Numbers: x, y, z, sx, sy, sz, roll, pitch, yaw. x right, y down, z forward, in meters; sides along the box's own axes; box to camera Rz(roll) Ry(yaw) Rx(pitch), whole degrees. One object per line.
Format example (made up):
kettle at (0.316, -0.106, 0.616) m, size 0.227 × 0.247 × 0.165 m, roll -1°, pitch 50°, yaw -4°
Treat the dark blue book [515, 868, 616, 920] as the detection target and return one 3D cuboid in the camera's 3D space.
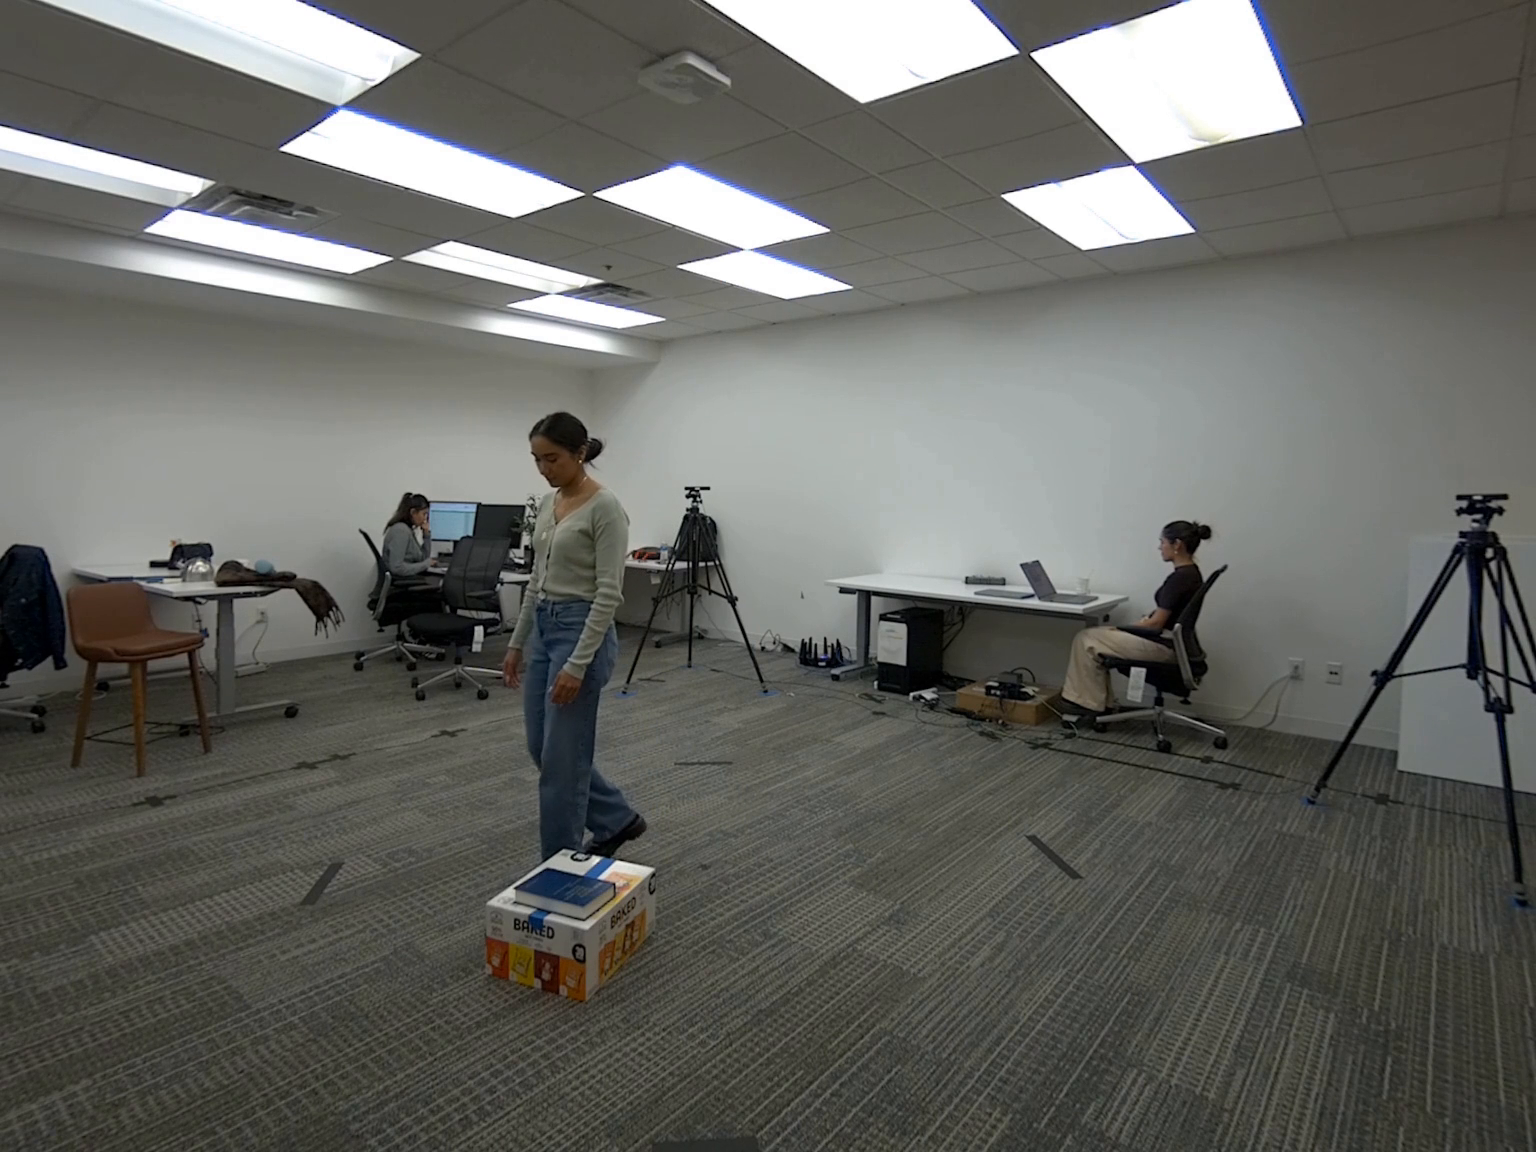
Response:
dark blue book at (-0.591, 0.904, 2.450) m, size 0.251 × 0.045 × 0.160 m, roll 3°, pitch 6°, yaw 24°
